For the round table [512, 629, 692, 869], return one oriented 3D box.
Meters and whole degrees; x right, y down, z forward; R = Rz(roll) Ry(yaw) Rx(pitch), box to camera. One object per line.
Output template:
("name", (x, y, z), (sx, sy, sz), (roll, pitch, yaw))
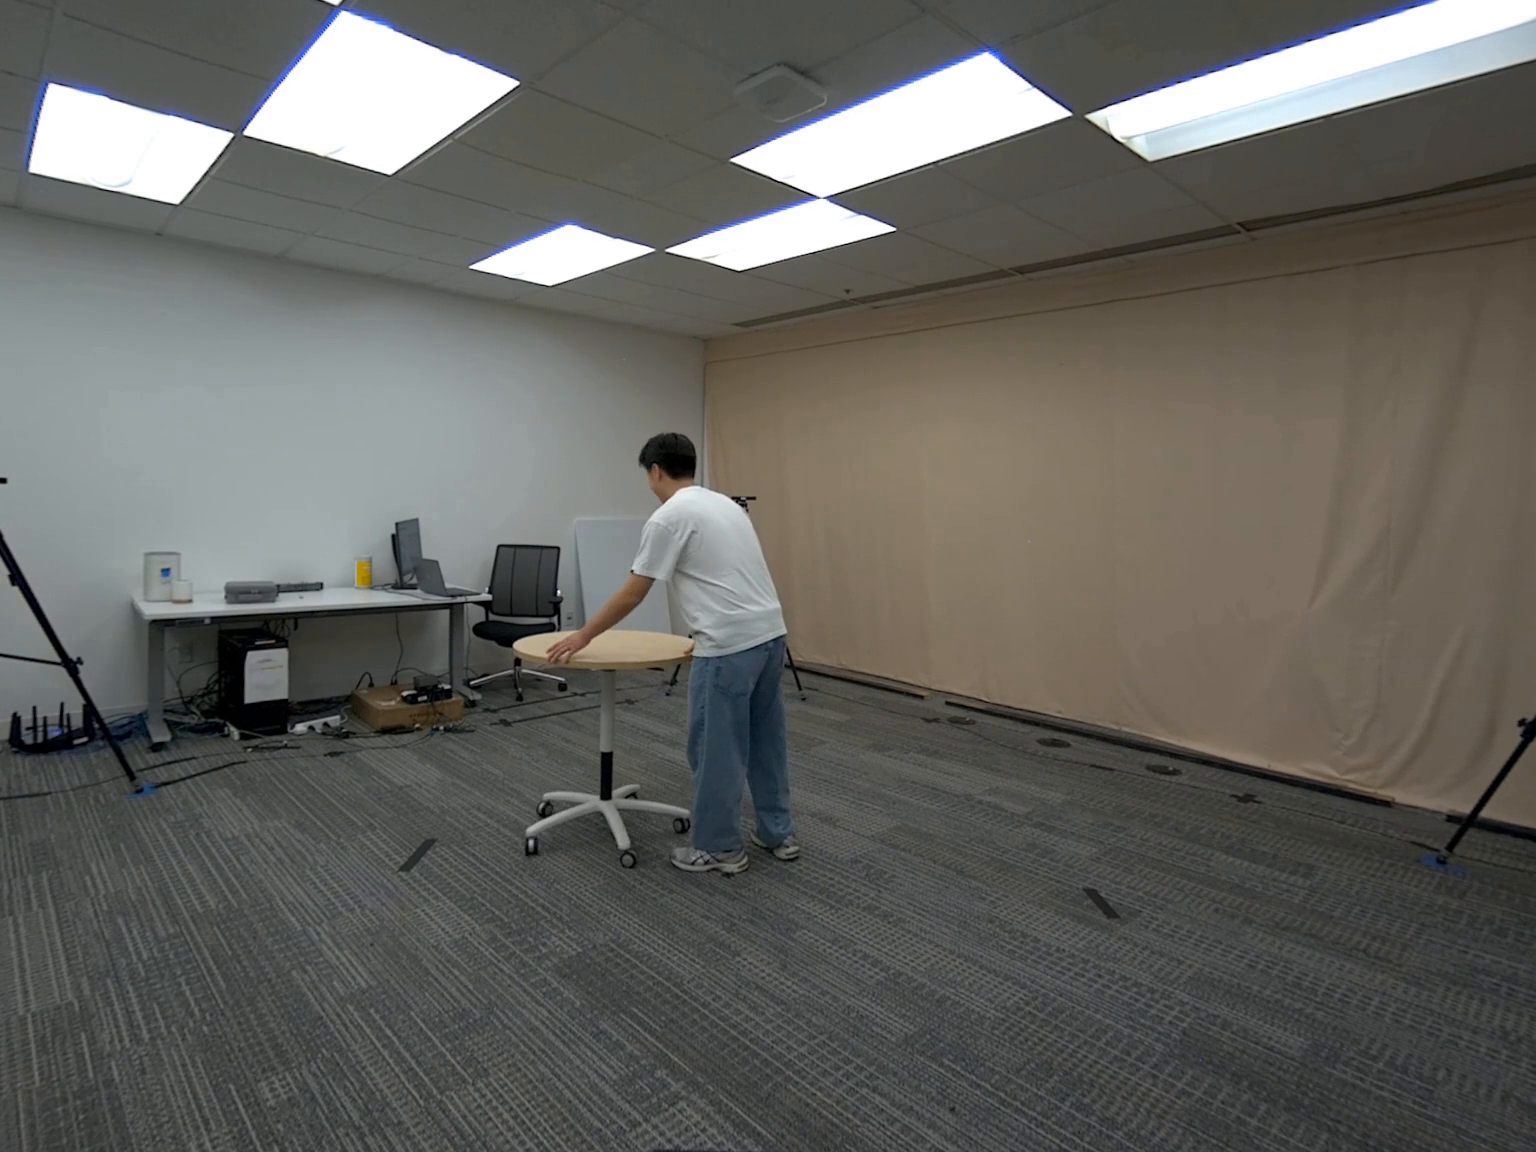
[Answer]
("round table", (-0.657, 0.668, 3.456), (0.784, 0.785, 0.787), (1, 4, -1))
